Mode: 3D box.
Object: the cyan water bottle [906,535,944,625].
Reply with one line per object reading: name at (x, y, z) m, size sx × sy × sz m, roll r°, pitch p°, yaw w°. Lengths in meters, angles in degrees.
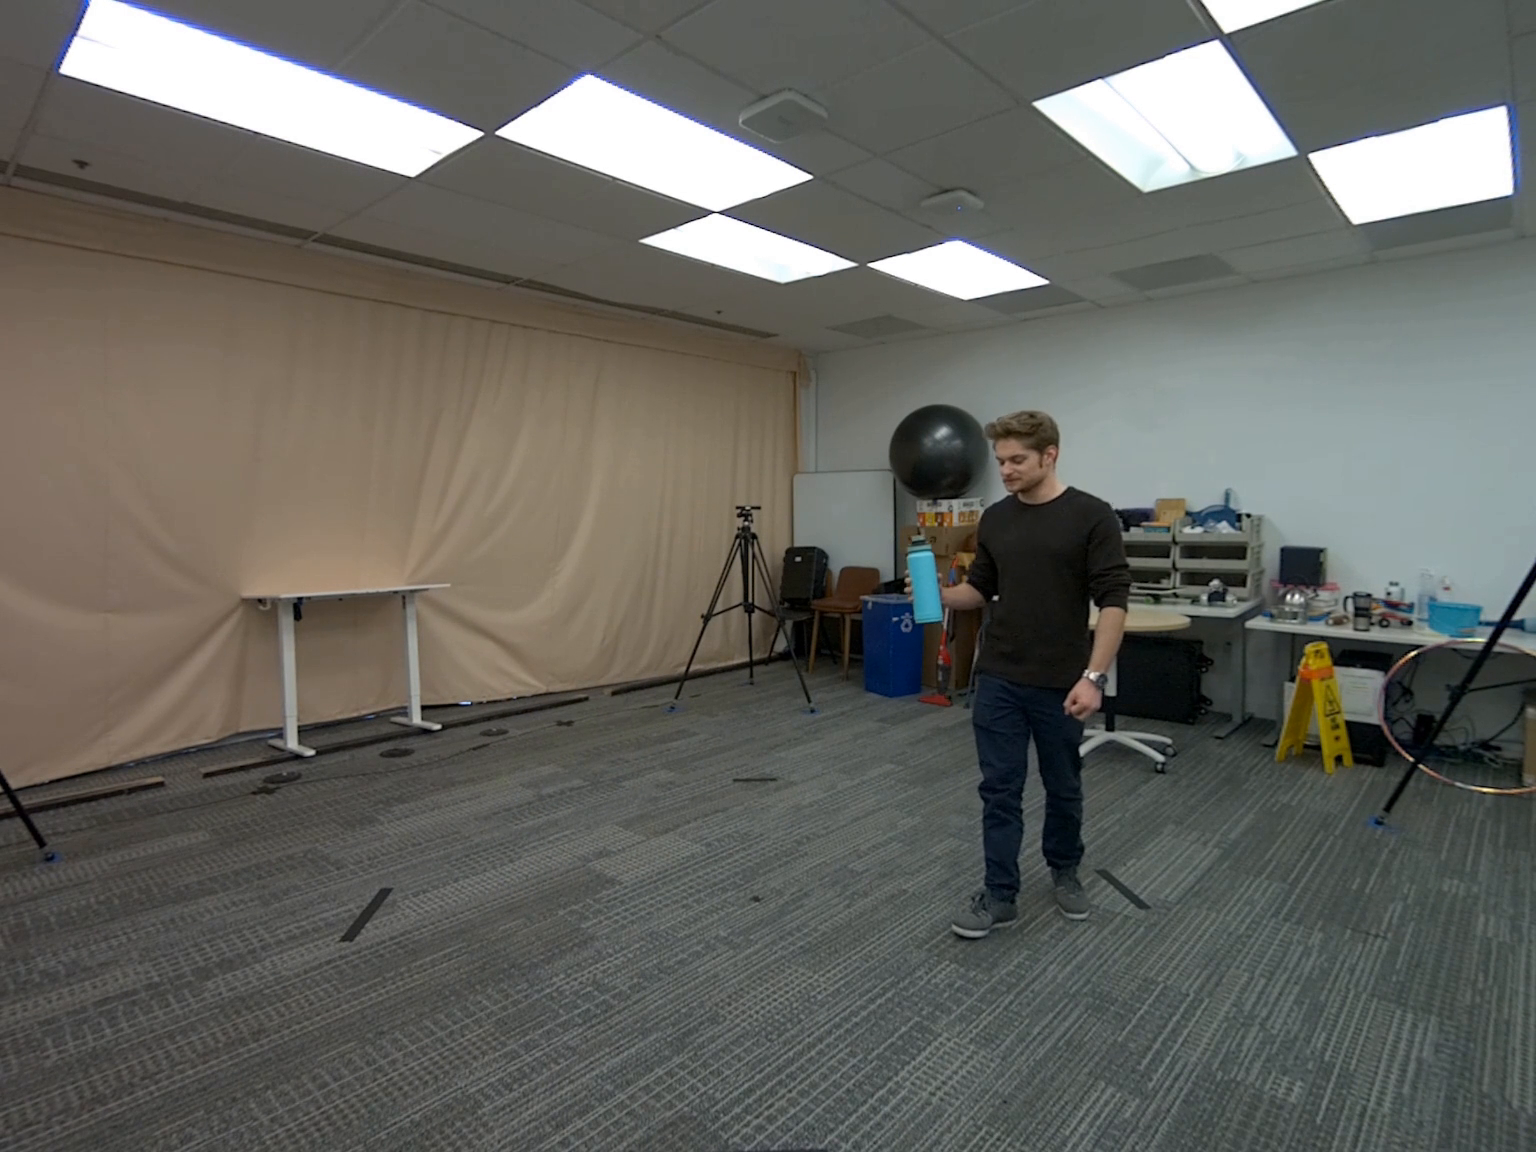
cyan water bottle at (0.523, 0.009, 2.767) m, size 0.092 × 0.285 × 0.092 m, roll -7°, pitch -6°, yaw -3°
